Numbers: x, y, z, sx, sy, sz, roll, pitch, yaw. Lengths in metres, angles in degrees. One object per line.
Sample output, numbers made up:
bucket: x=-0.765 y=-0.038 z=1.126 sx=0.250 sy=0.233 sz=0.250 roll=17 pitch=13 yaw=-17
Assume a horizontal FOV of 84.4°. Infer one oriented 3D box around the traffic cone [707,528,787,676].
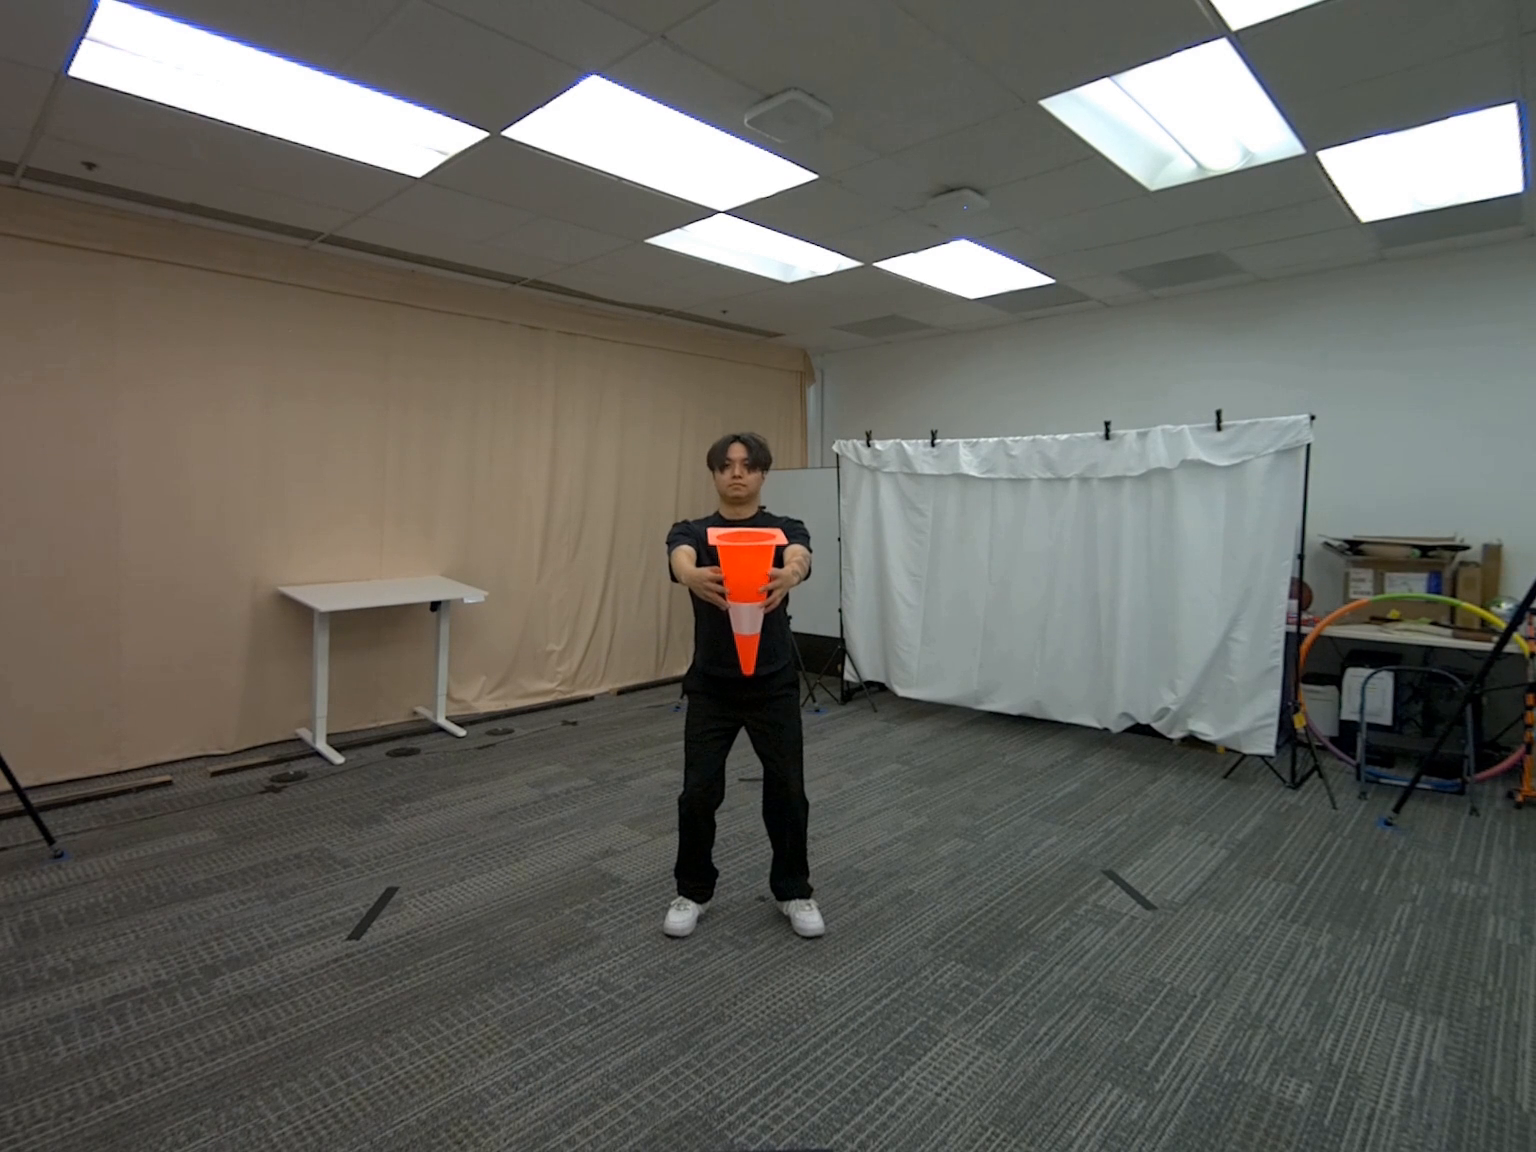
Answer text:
traffic cone: x=-0.062 y=0.085 z=2.222 sx=0.205 sy=0.381 sz=0.205 roll=4 pitch=12 yaw=-2
